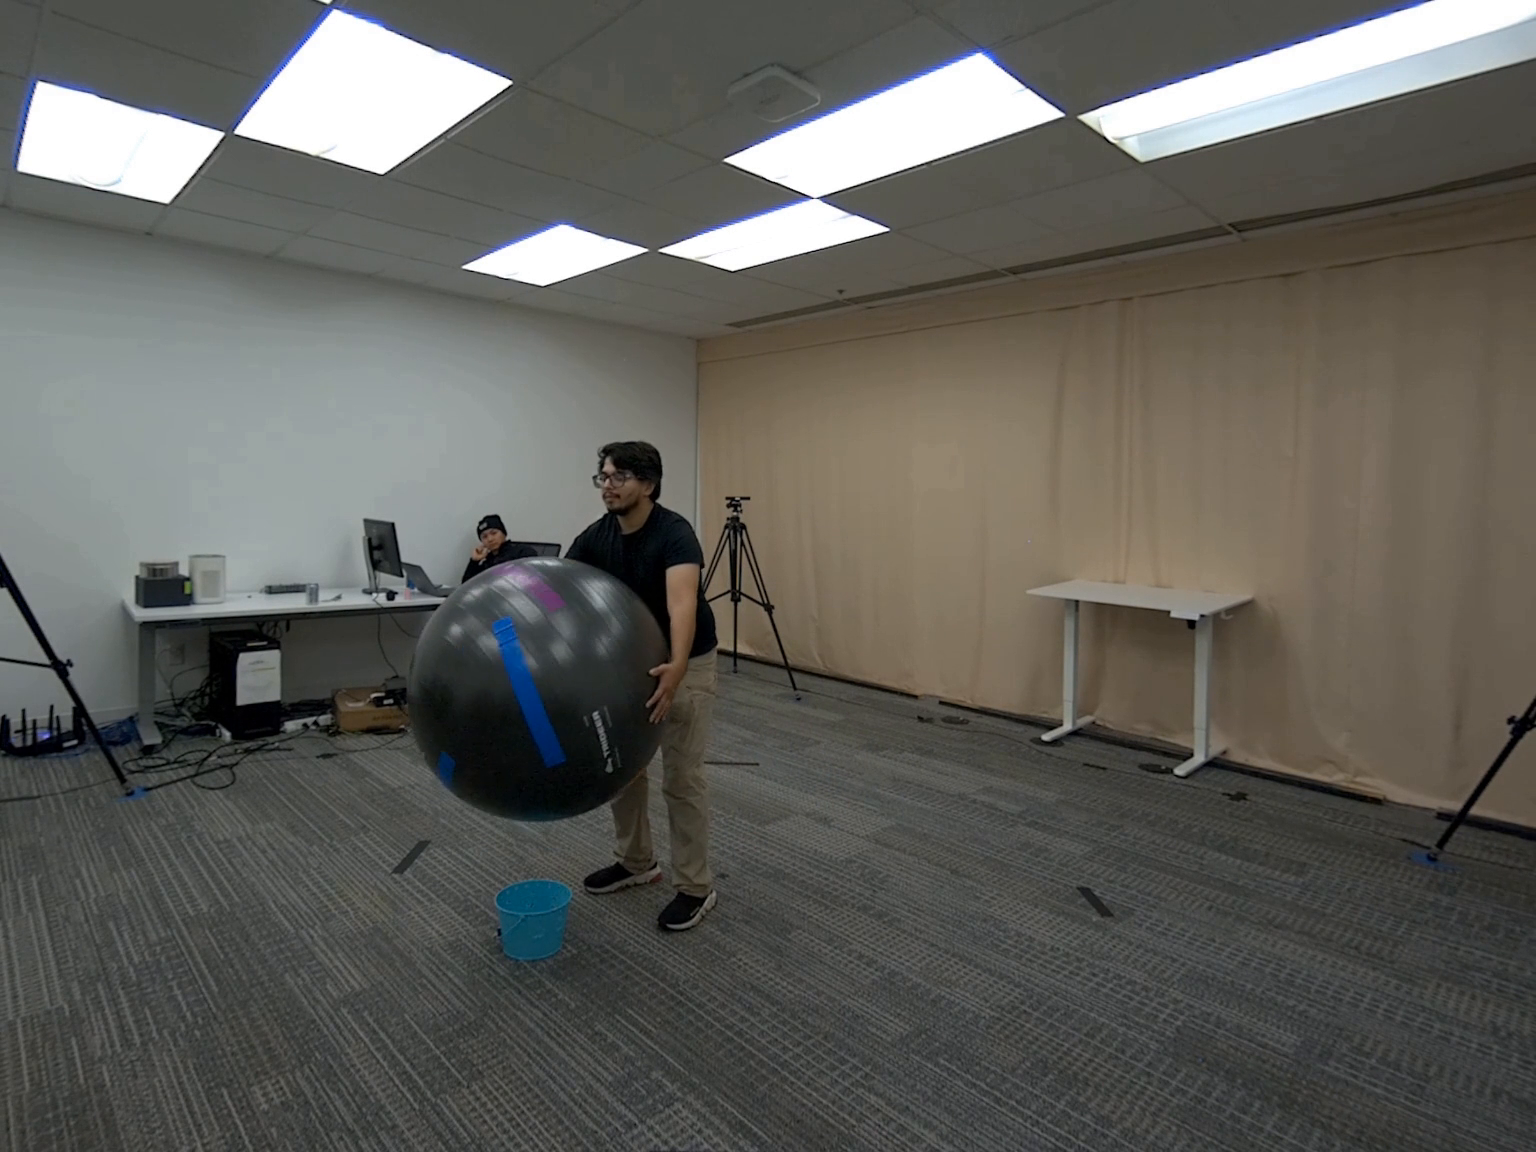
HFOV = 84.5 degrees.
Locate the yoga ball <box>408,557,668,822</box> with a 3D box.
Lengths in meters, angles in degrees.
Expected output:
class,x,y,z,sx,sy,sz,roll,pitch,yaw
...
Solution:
class,x,y,z,sx,sy,sz,roll,pitch,yaw
yoga ball,-0.654,0.341,2.470,0.757,0.756,0.761,1,4,-1
